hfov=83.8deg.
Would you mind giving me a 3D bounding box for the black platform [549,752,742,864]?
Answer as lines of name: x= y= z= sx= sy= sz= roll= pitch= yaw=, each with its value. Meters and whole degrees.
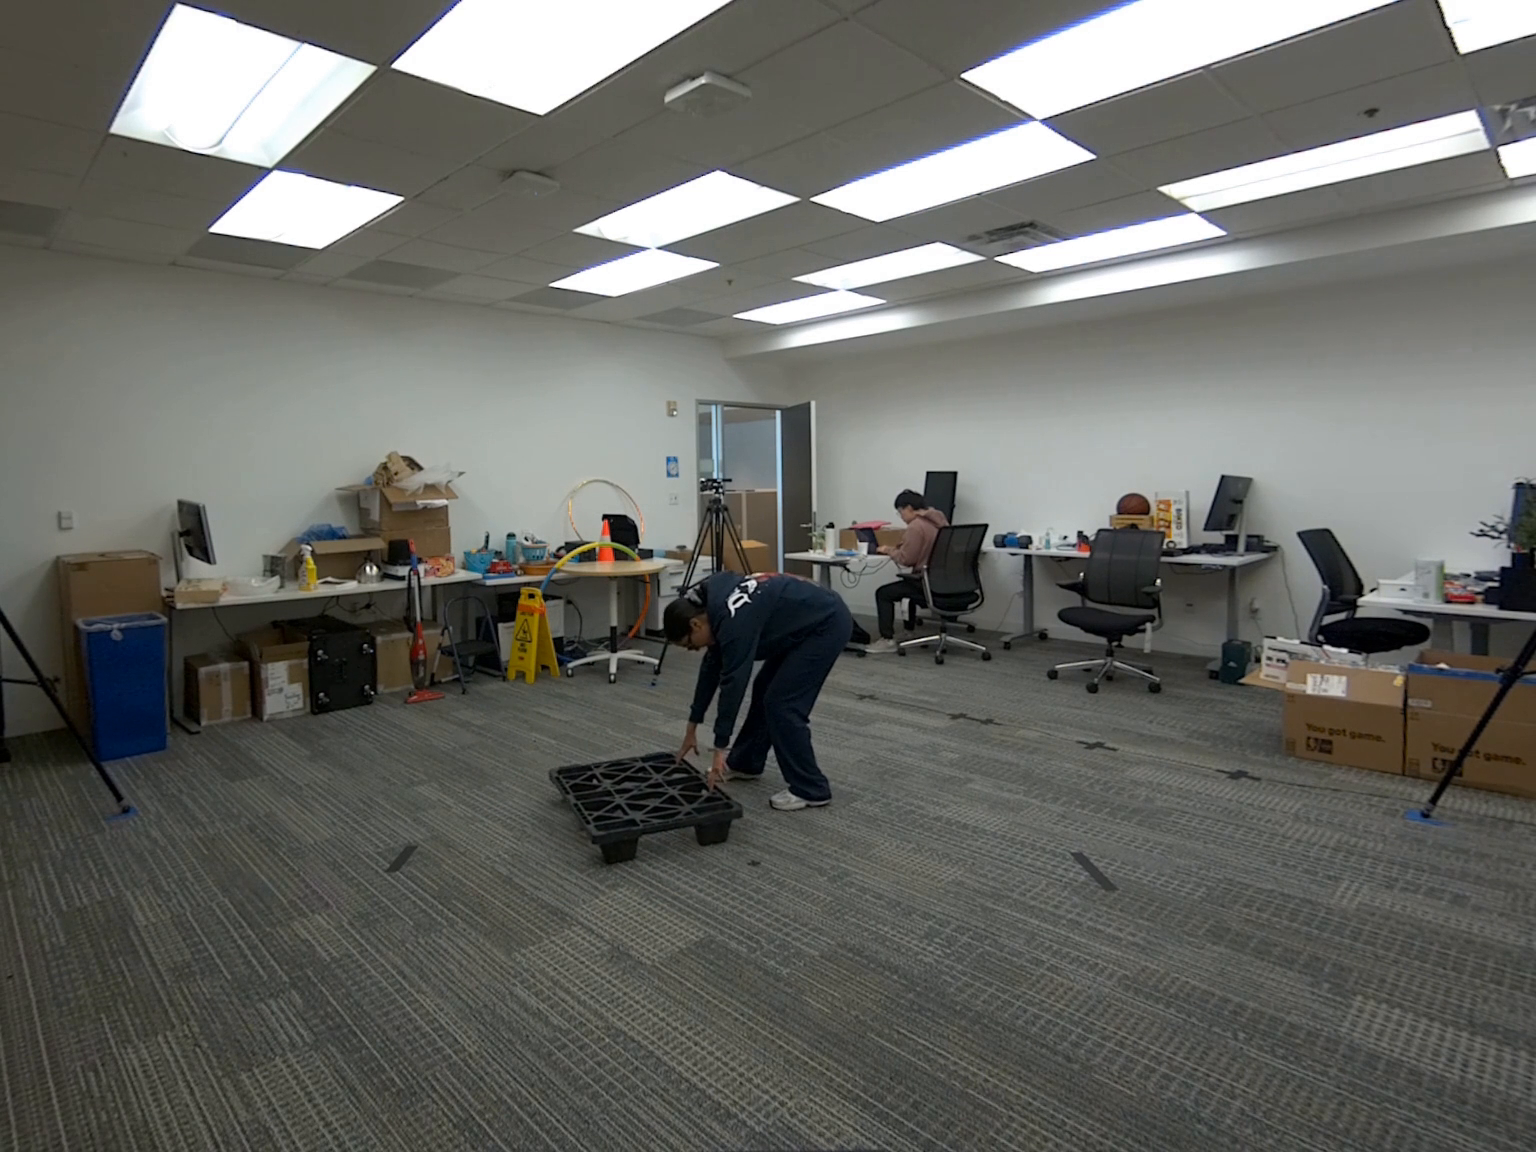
black platform: x=-0.521 y=0.936 z=3.535 sx=0.593 sy=0.143 sz=0.825 roll=-3 pitch=6 yaw=-24
